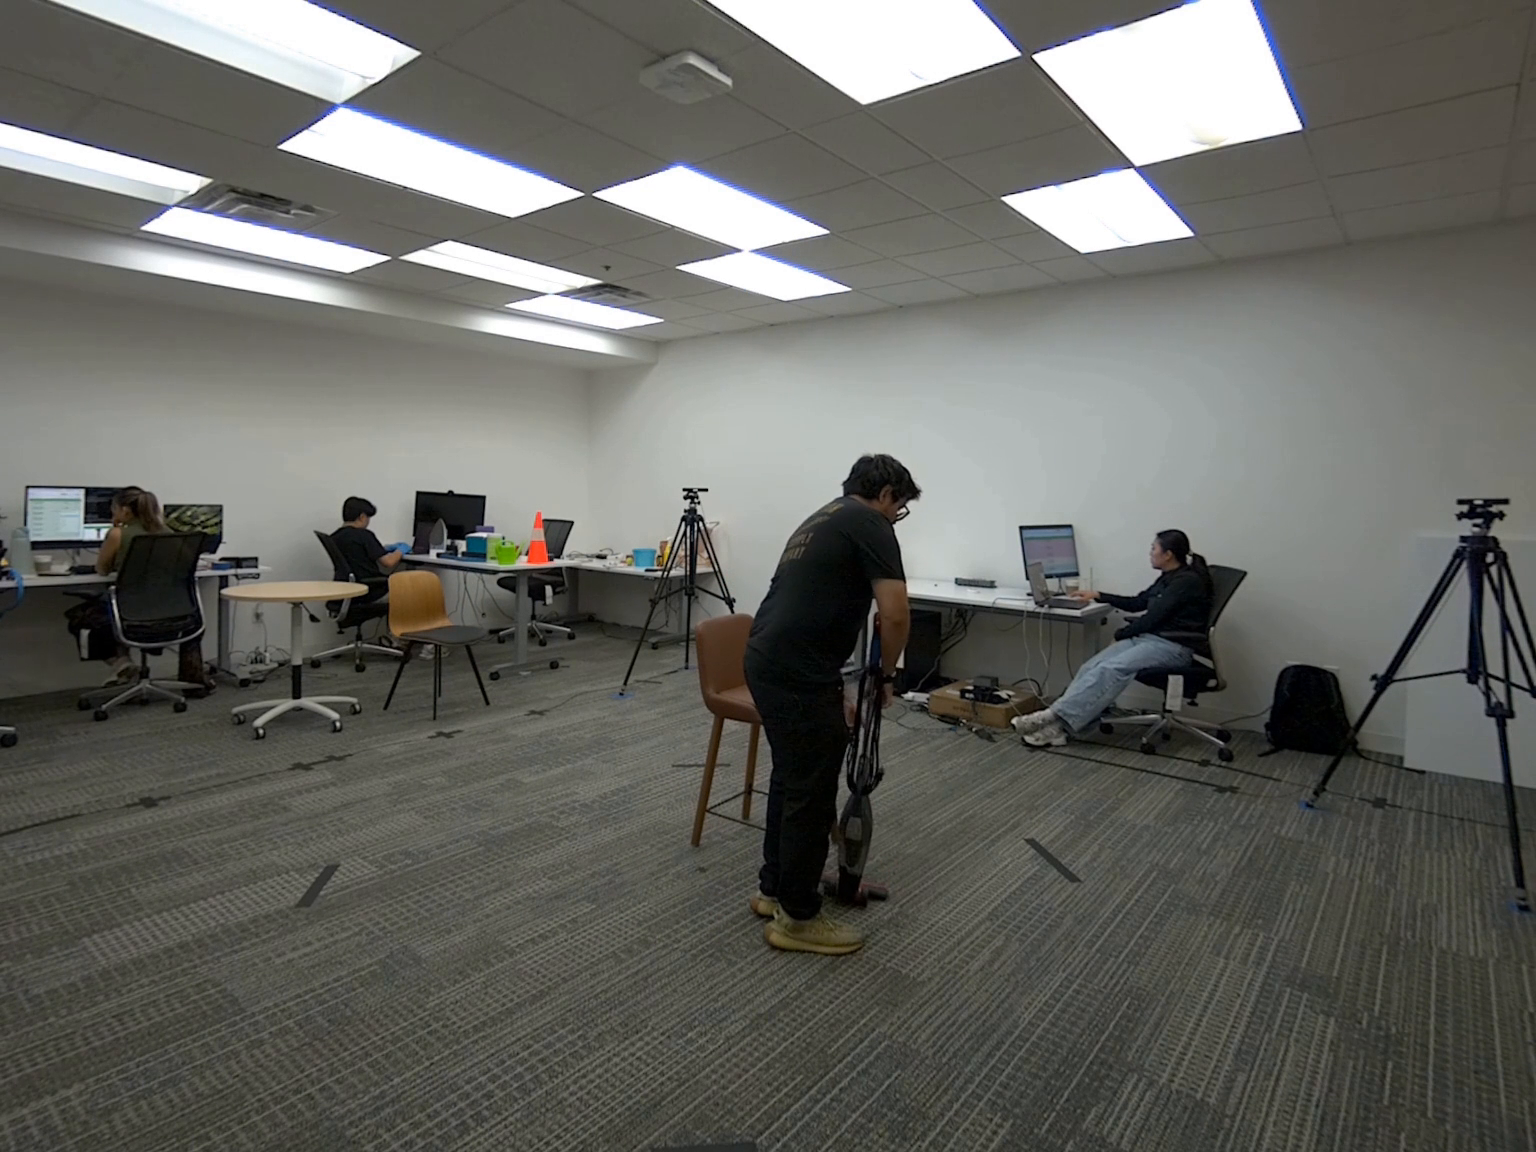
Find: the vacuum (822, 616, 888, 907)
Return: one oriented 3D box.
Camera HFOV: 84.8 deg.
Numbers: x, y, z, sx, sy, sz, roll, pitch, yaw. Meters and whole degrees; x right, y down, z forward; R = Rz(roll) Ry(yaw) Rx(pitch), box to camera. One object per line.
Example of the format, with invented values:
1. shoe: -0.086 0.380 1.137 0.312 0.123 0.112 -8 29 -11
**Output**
1. vacuum: 0.298 0.616 2.761 0.258 1.032 0.143 9 19 19
